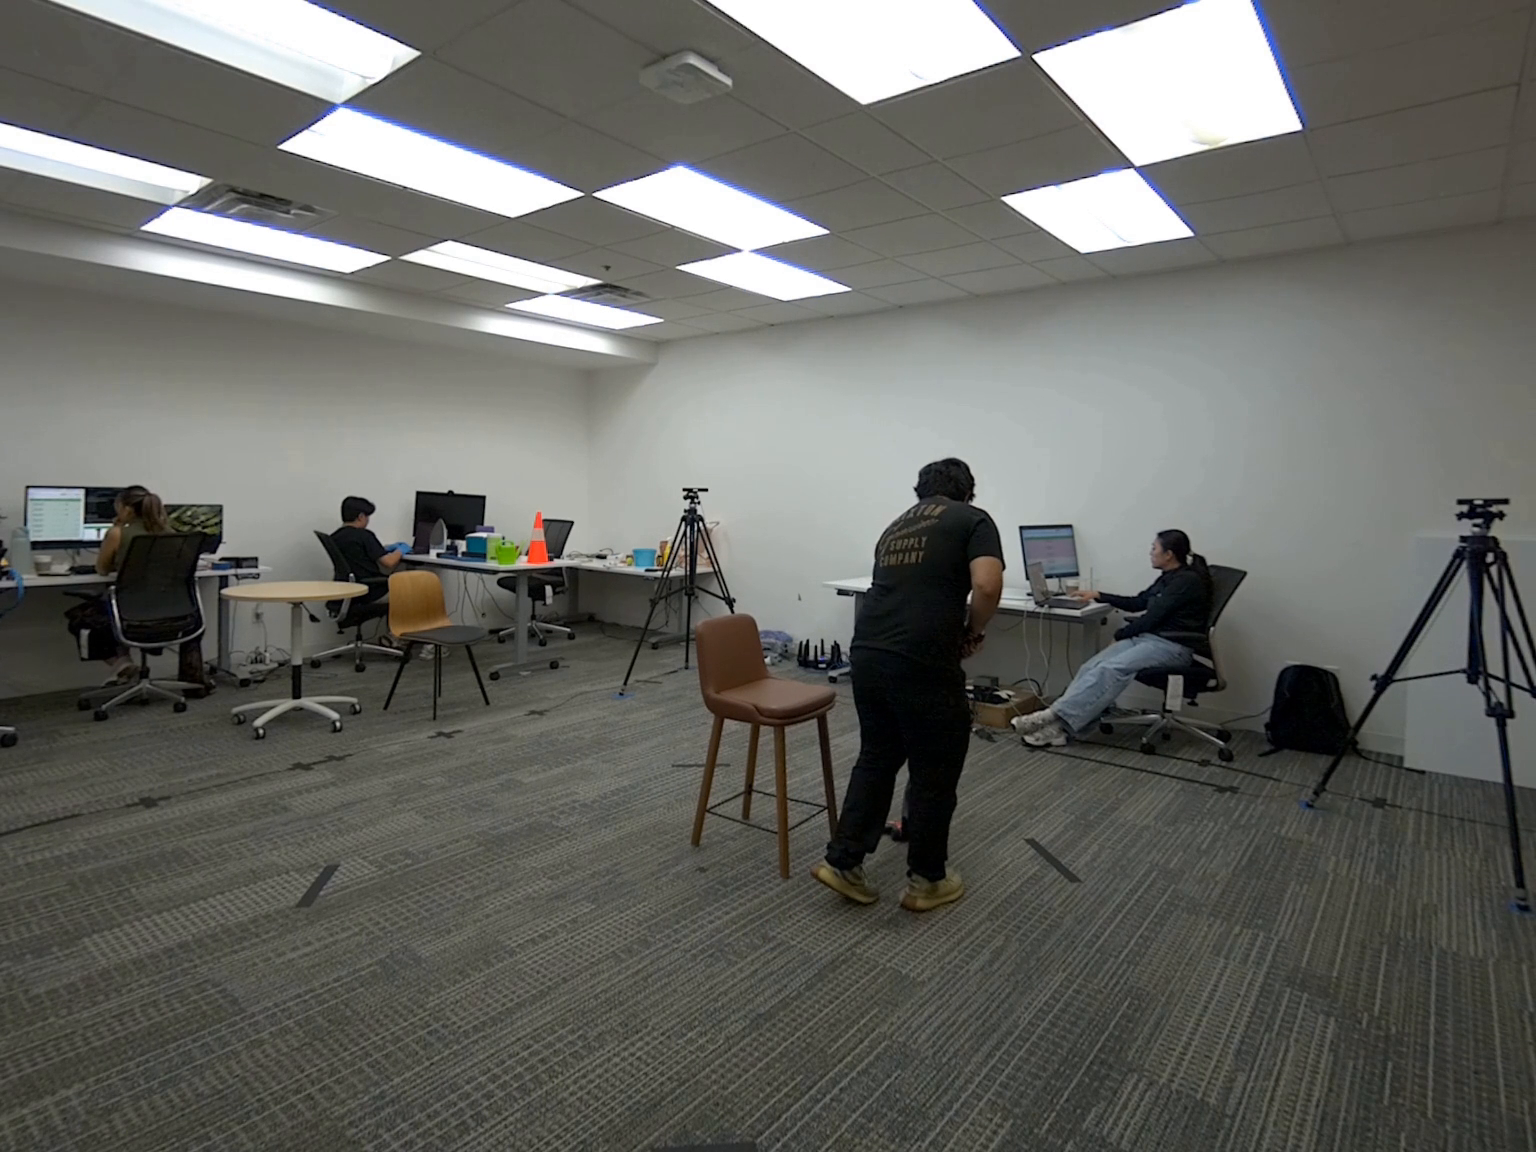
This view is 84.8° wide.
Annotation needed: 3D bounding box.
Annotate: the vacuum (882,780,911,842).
[{"bbox_3d":[0.587,0.620,3.176,0.251,1.023,0.148,1,36,-5],"label":"vacuum"}]
